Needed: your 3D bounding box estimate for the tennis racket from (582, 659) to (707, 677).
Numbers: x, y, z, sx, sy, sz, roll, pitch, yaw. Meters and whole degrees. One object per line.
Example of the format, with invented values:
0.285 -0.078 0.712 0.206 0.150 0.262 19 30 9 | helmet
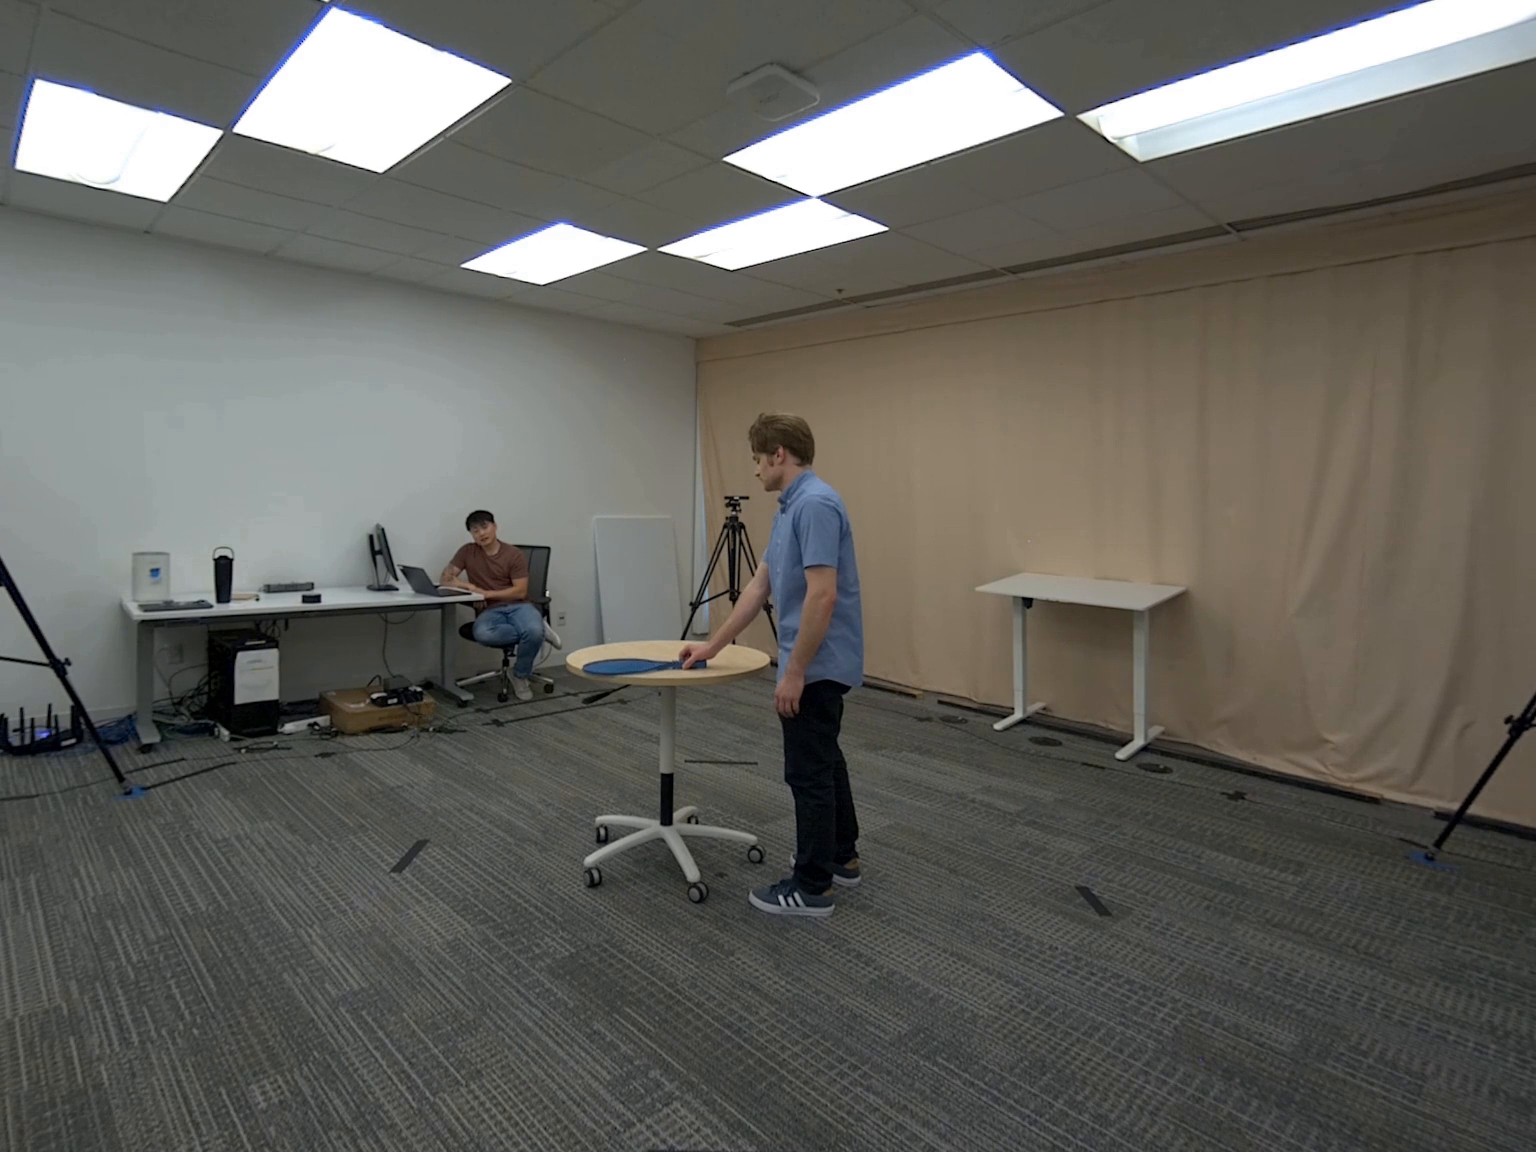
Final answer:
-0.438 0.318 2.949 0.431 0.031 0.215 -1 6 -6 | tennis racket
